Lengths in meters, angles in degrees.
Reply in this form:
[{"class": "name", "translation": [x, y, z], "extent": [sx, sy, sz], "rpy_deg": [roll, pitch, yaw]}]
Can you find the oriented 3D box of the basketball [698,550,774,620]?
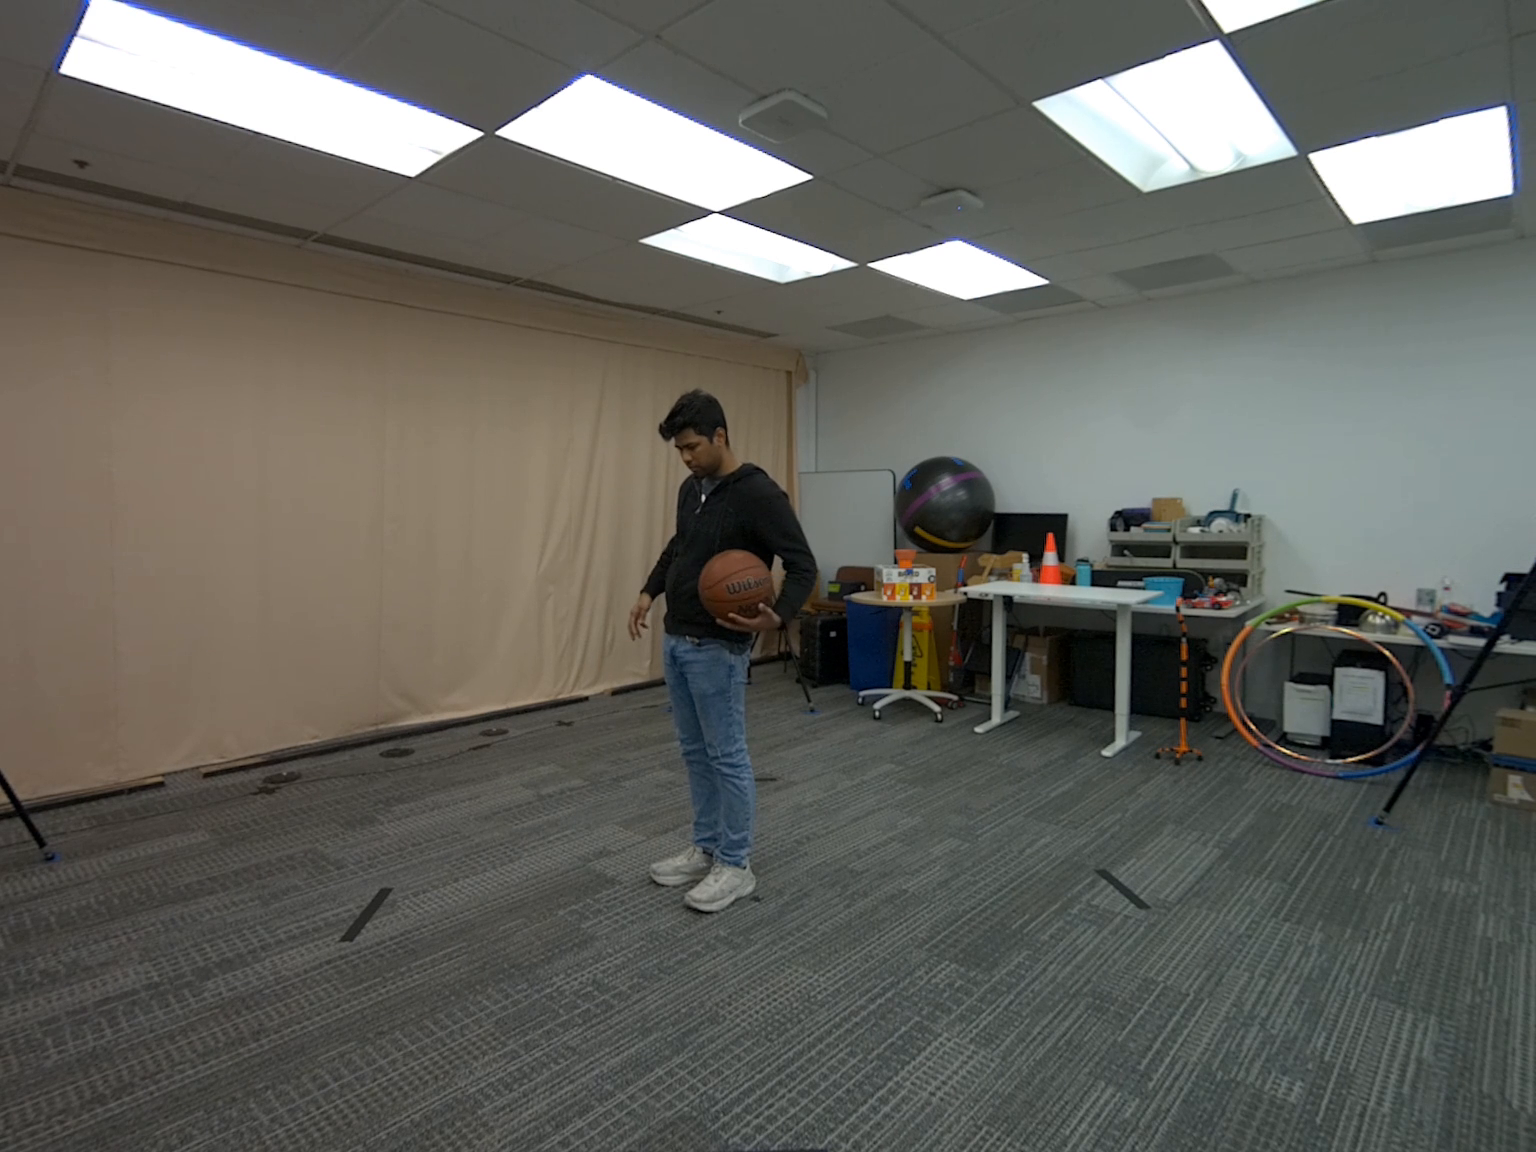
[{"class": "basketball", "translation": [-0.108, 0.024, 2.718], "extent": [0.236, 0.235, 0.237], "rpy_deg": [0, 4, -2]}]
